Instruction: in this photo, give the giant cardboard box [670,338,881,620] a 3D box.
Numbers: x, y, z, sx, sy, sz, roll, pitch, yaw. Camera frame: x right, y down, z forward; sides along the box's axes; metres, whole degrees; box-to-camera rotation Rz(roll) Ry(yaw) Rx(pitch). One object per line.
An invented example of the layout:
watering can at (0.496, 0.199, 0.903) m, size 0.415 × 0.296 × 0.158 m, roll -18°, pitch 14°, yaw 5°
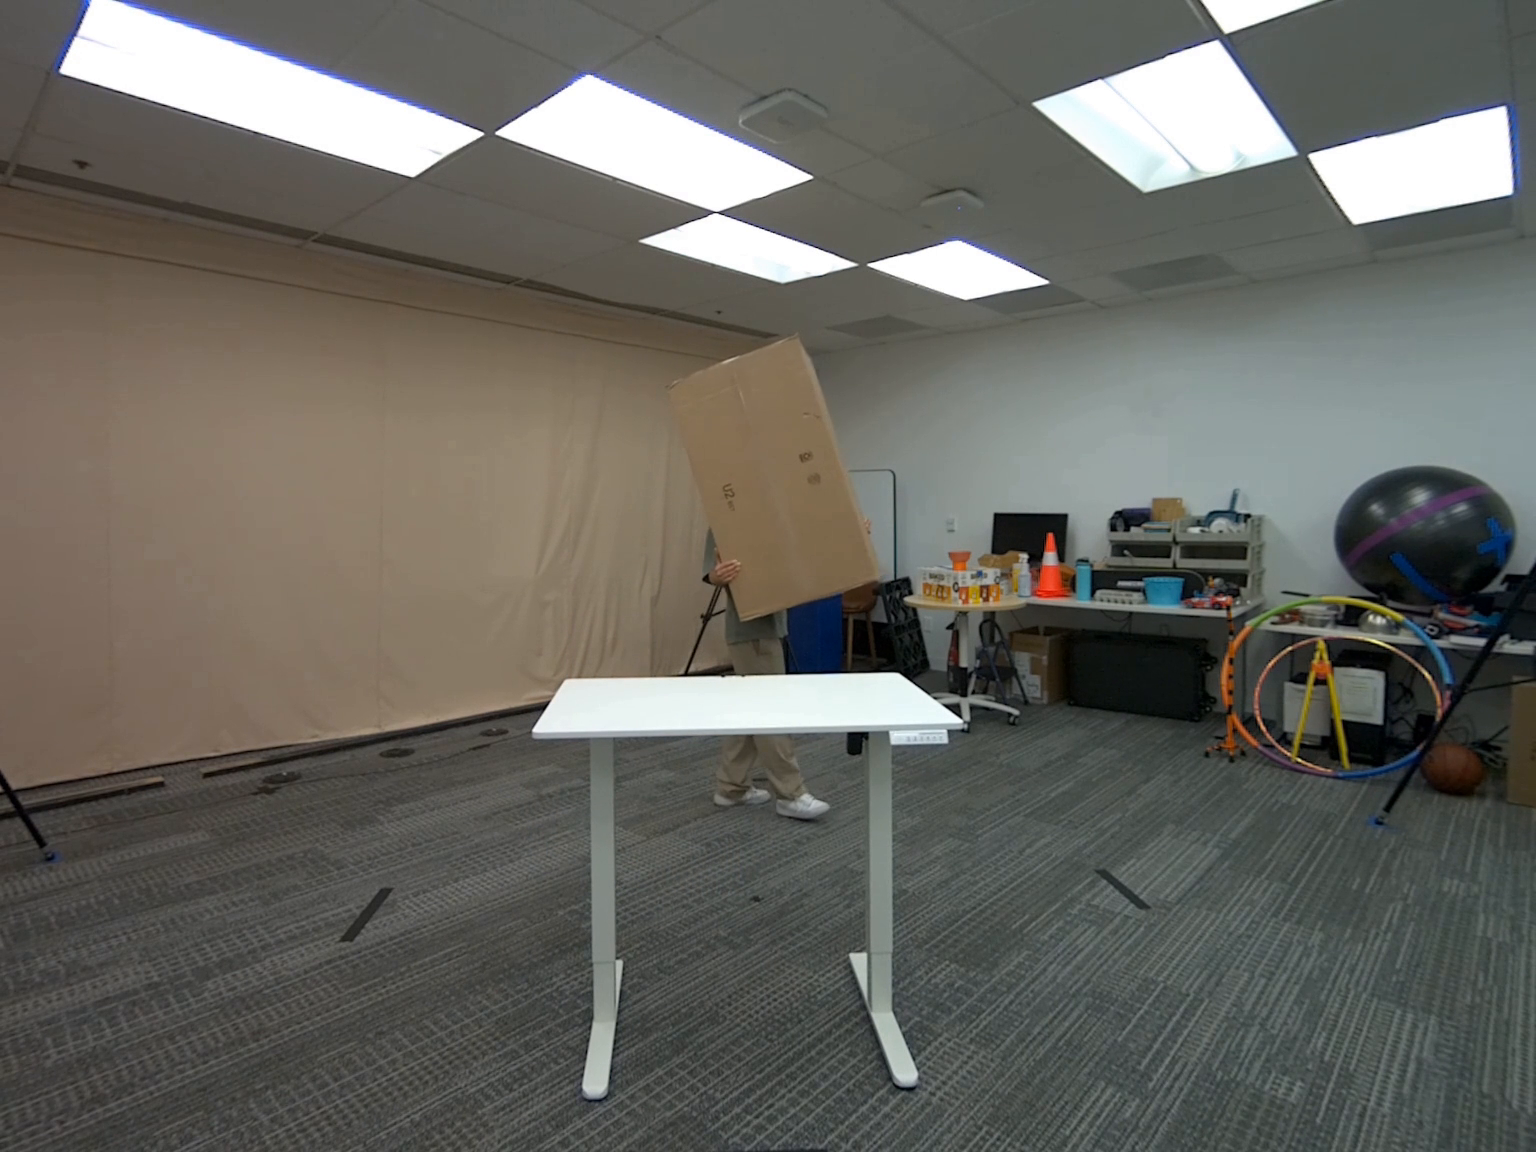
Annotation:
giant cardboard box at (0.050, -0.387, 3.546) m, size 0.584 × 1.030 × 0.420 m, roll -19°, pitch -4°, yaw 12°
